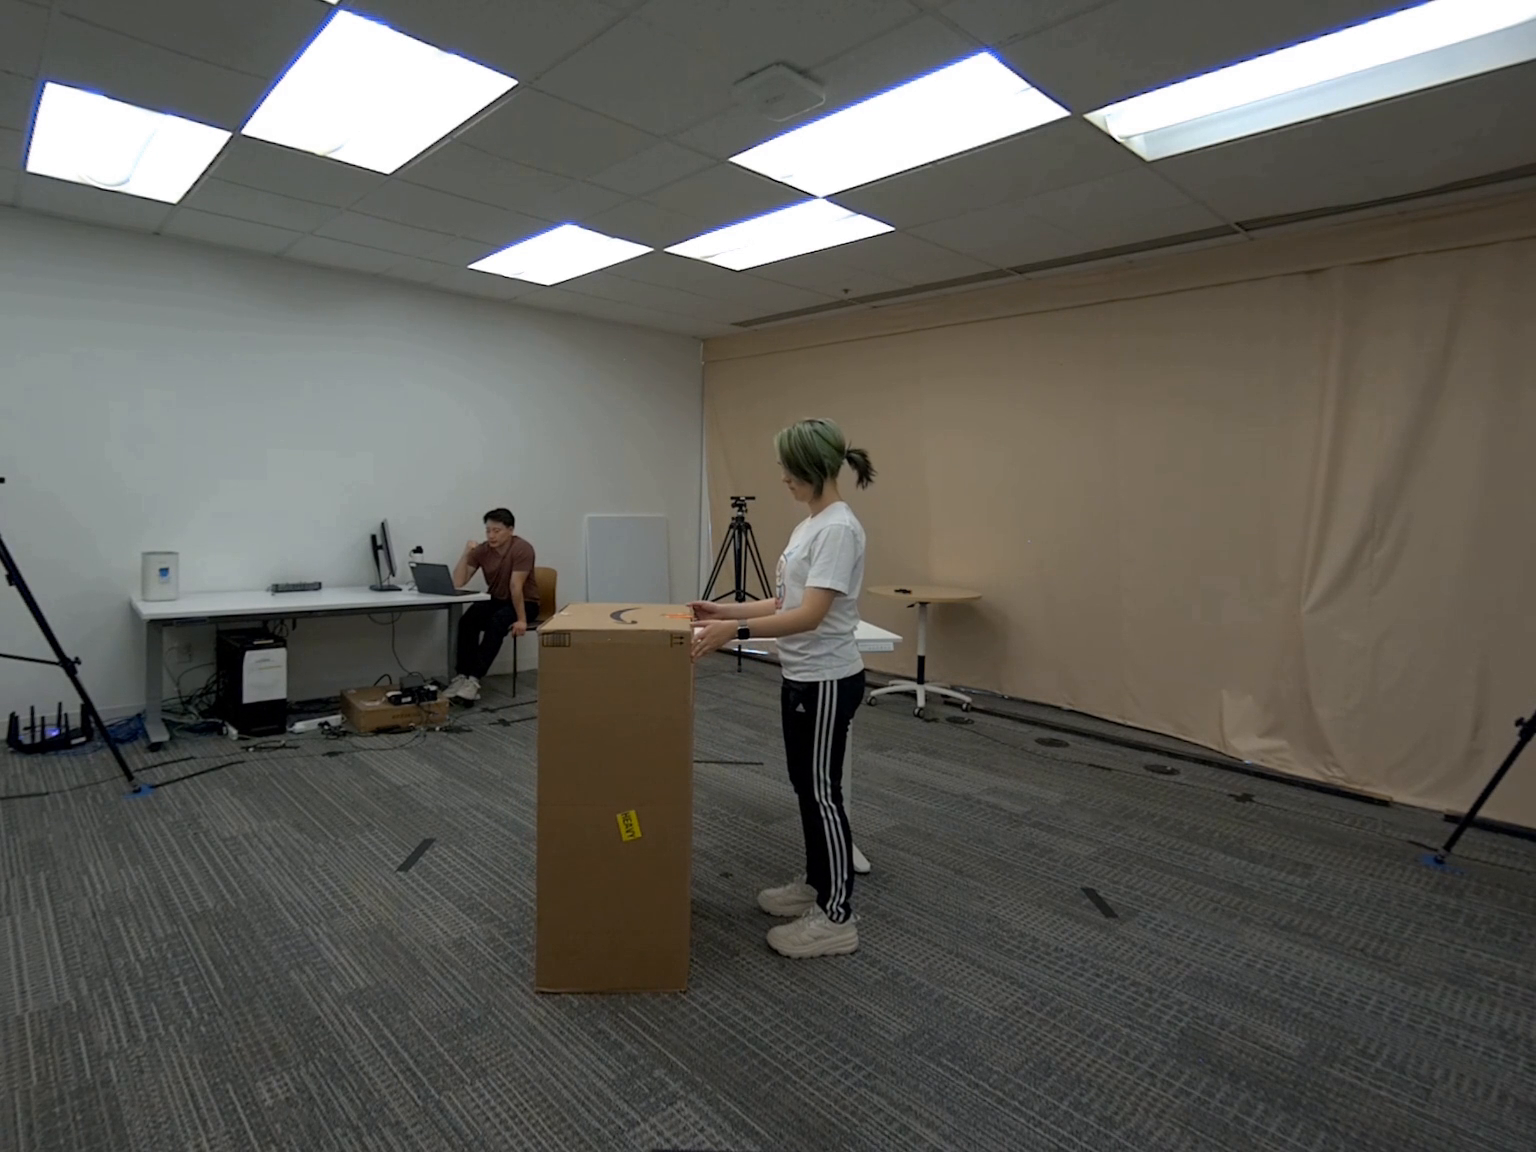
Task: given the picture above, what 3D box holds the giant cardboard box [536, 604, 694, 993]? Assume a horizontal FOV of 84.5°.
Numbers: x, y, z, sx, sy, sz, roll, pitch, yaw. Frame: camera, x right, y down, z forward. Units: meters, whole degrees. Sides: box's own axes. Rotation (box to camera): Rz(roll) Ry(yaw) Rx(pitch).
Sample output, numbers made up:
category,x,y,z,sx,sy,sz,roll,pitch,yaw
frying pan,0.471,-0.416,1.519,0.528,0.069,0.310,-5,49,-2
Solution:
category,x,y,z,sx,sy,sz,roll,pitch,yaw
giant cardboard box,-0.459,0.638,2.607,0.445,1.025,0.587,0,3,-5
